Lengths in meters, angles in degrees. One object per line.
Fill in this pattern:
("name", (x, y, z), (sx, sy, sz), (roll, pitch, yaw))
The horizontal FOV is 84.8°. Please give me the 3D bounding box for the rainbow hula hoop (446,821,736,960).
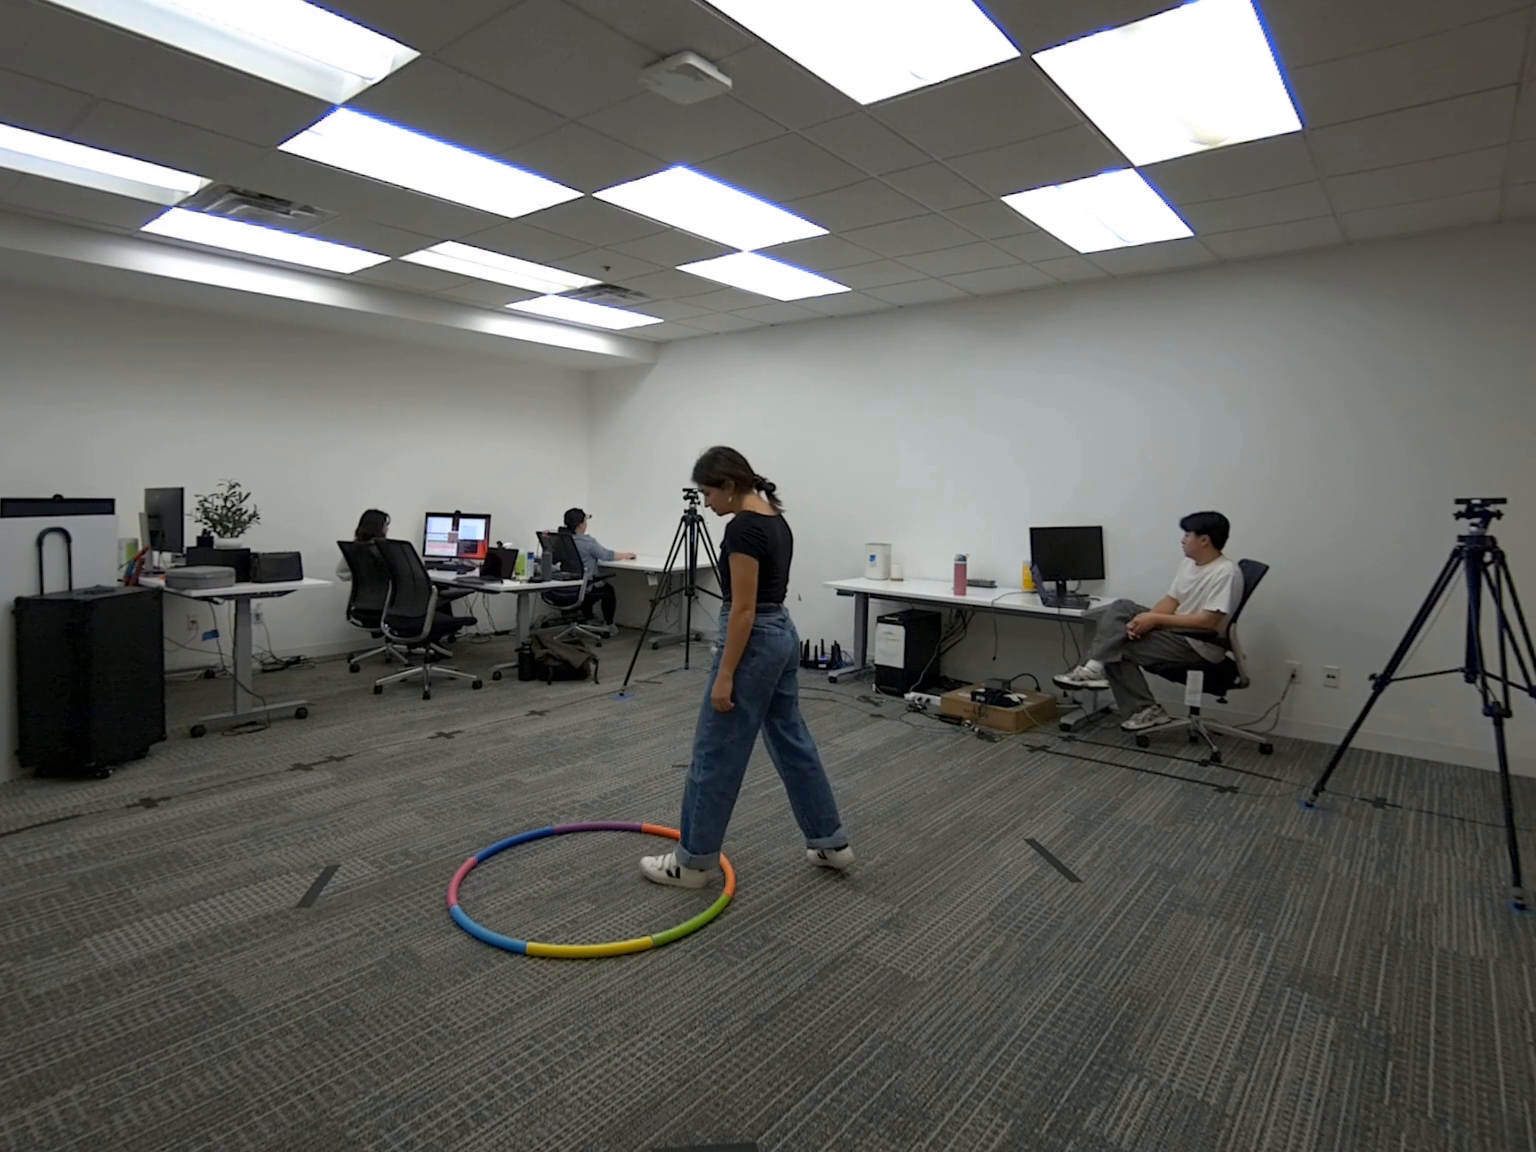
("rainbow hula hoop", (-0.602, 1.041, 2.983), (0.978, 0.035, 0.984), (1, 6, -2))
